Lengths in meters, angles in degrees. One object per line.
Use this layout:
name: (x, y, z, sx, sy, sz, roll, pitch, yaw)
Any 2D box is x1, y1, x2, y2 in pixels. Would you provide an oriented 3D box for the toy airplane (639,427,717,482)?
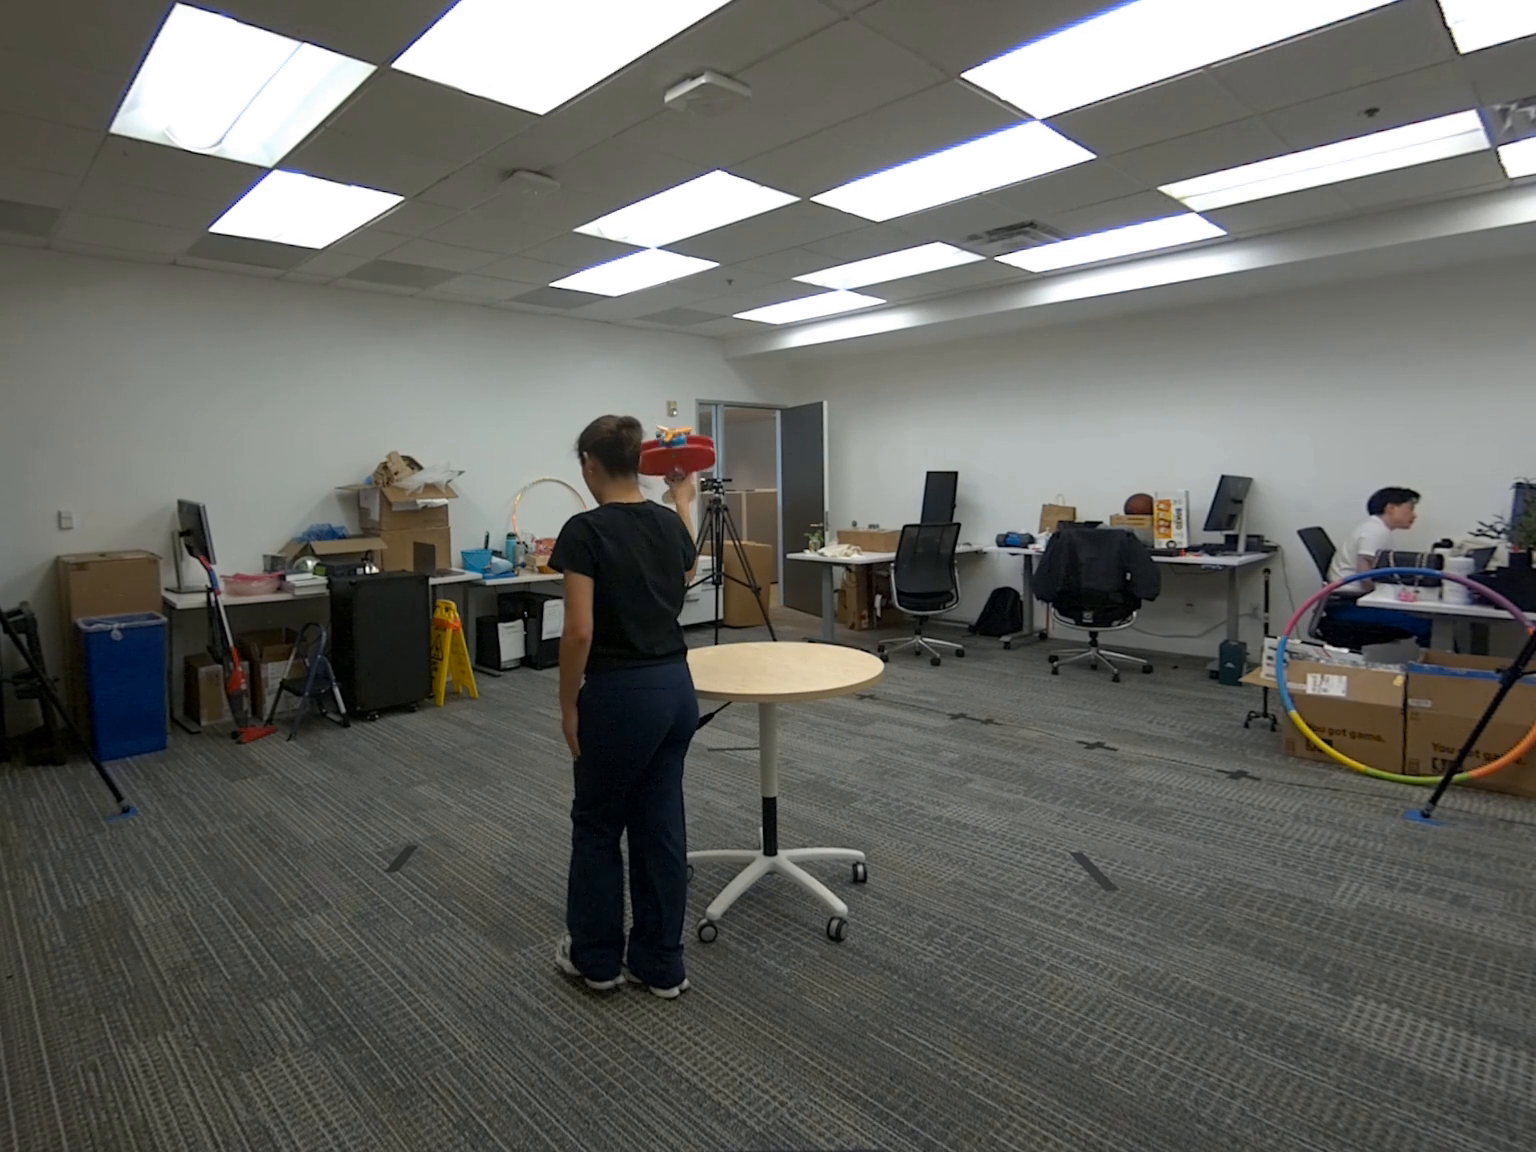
toy airplane: (-0.293, -0.349, 2.780, 0.251, 0.254, 0.159, -32, 16, 4)
